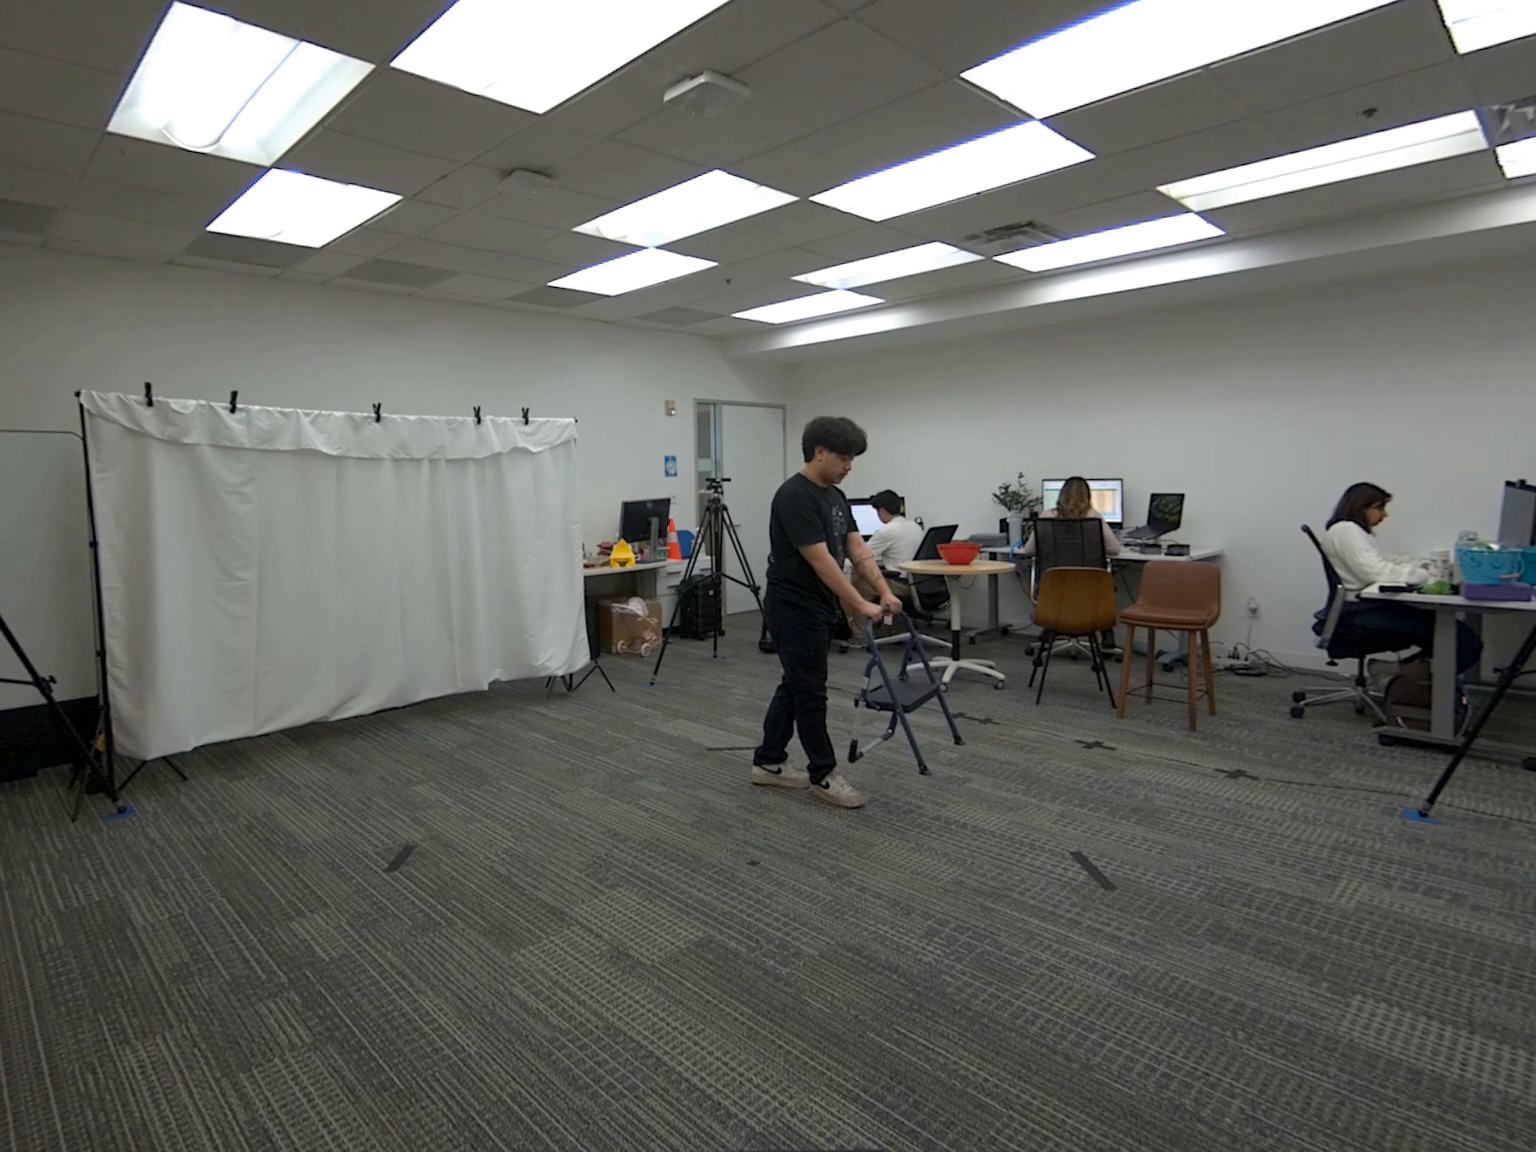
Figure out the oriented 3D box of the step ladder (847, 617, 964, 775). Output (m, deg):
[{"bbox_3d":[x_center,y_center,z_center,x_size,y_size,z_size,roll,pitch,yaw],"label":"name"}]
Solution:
[{"bbox_3d":[0.559,0.441,3.528,0.359,0.604,0.421,0,5,33],"label":"step ladder"}]
